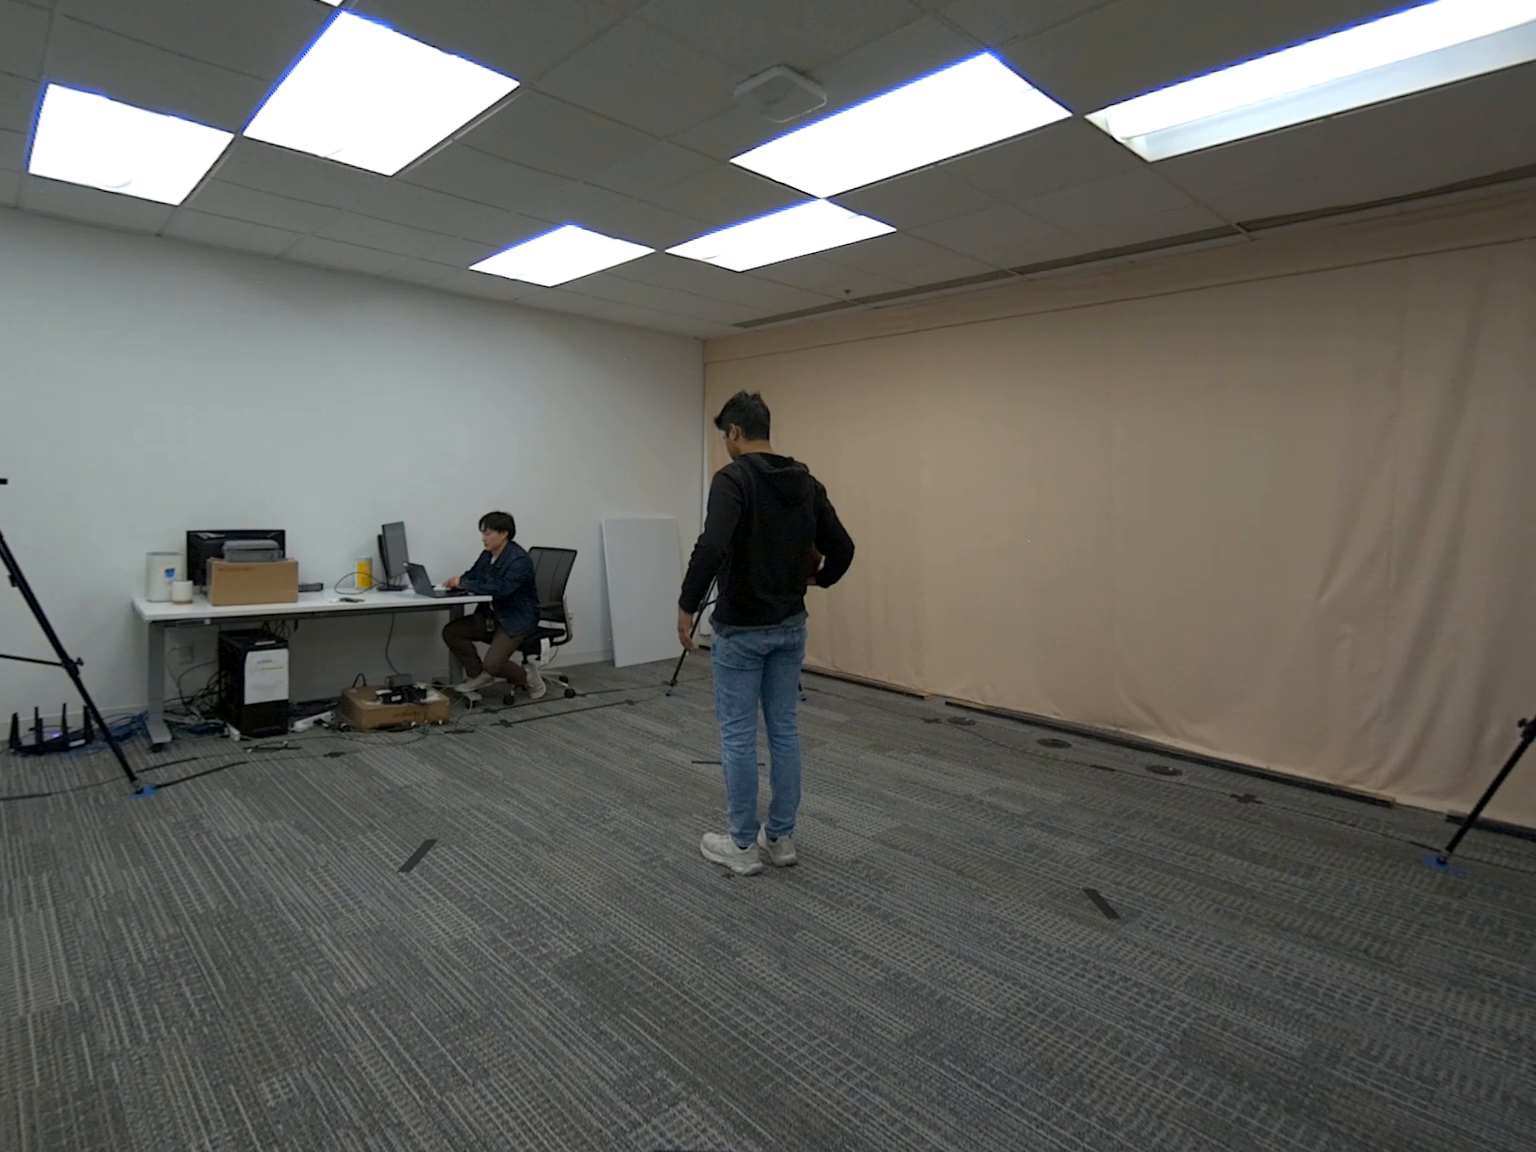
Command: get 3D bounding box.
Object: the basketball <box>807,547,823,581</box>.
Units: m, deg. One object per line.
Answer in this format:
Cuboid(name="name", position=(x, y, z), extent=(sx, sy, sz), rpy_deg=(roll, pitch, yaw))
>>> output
Cuboid(name="basketball", position=(0.104, -0.102, 3.460), extent=(0.236, 0.235, 0.237), rpy_deg=(1, 4, -1))
